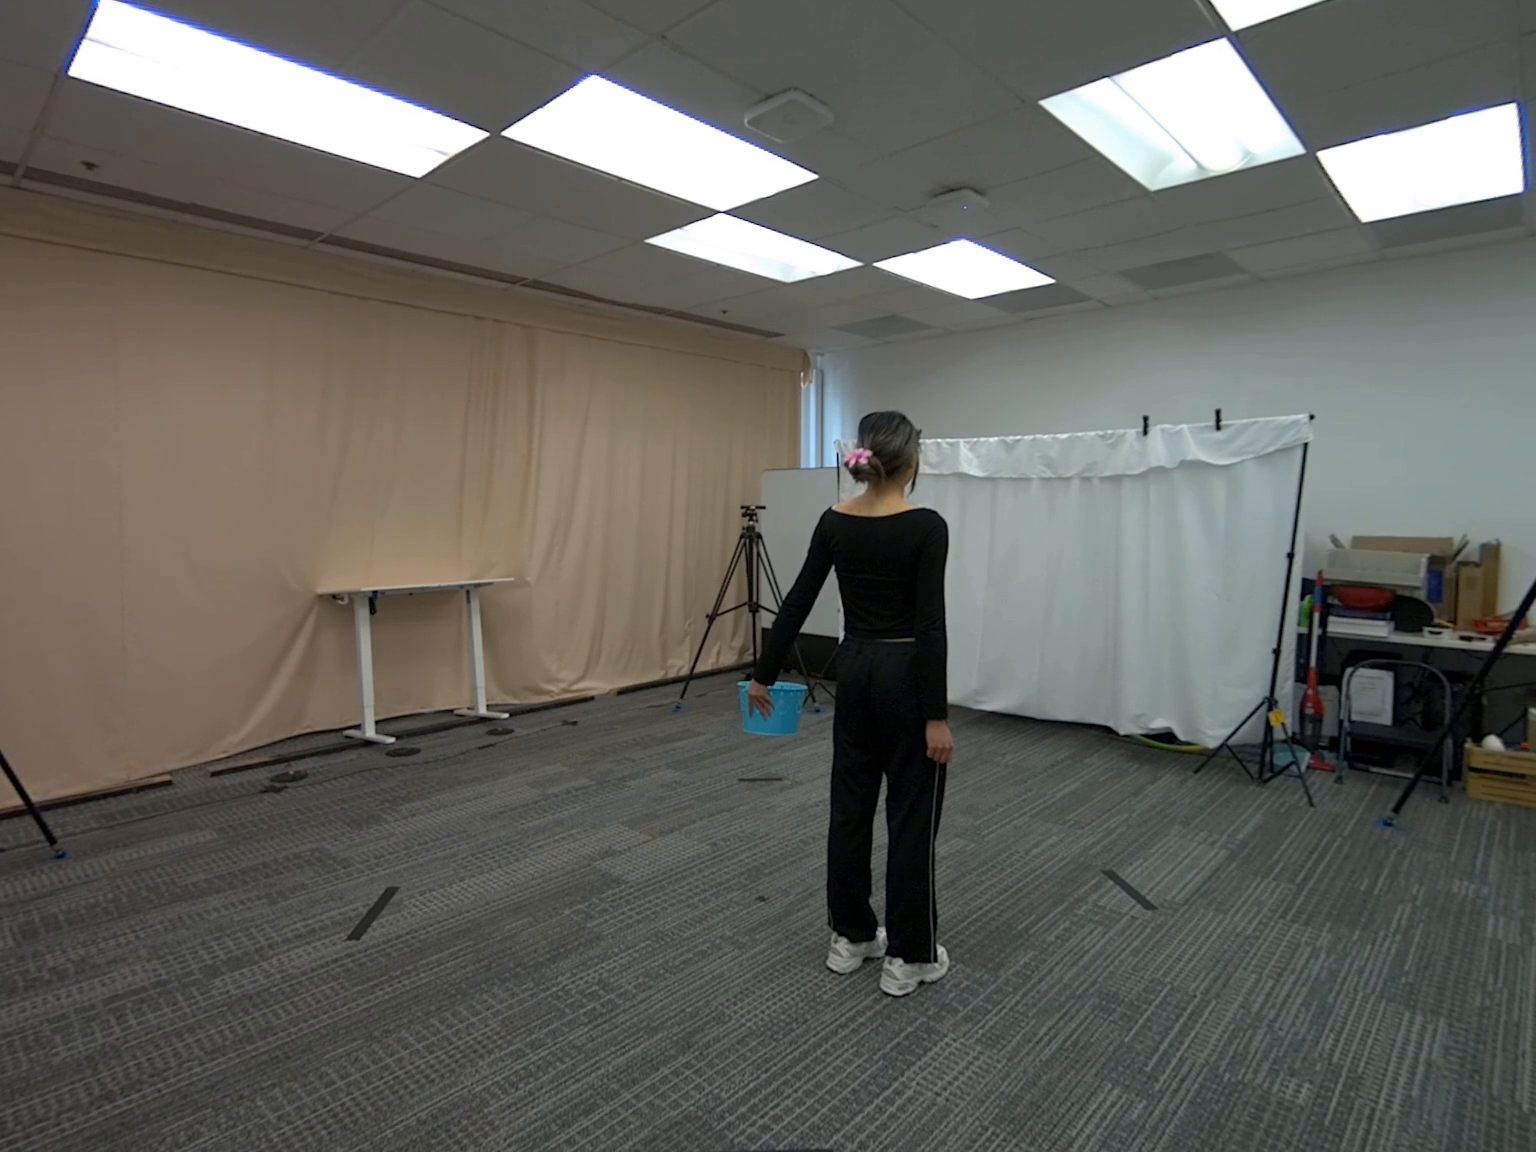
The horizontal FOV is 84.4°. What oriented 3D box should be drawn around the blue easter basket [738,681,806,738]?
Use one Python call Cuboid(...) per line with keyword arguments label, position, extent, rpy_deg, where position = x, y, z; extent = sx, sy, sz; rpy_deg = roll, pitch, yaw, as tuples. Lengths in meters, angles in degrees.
Cuboid(label="blue easter basket", position=(0.015, 0.439, 2.792), extent=(0.243, 0.156, 0.243), rpy_deg=(3, -2, -2))
